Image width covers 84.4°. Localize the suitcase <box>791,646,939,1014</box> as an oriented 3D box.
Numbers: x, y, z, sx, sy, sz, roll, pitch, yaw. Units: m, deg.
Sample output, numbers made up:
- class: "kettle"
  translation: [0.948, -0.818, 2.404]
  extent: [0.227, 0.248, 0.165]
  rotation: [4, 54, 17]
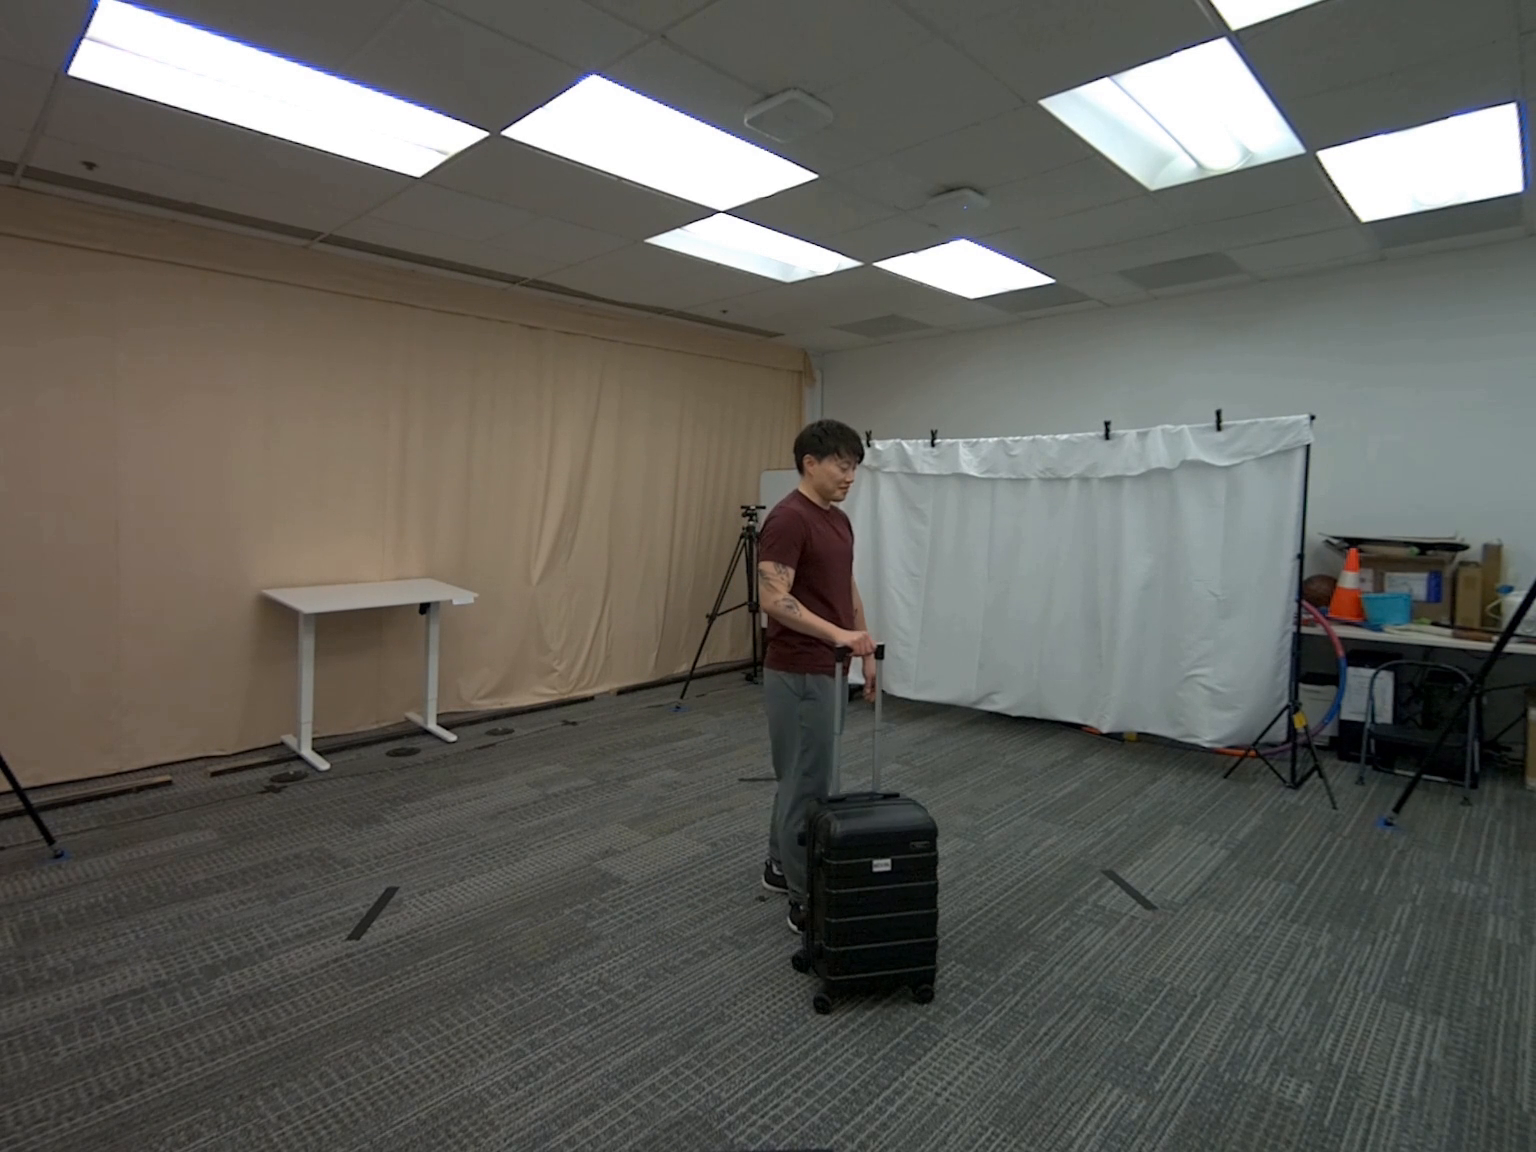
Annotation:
- class: "suitcase"
  translation: [0.298, 0.717, 2.416]
  extent: [0.381, 0.975, 0.260]
  rotation: [1, 6, -8]
